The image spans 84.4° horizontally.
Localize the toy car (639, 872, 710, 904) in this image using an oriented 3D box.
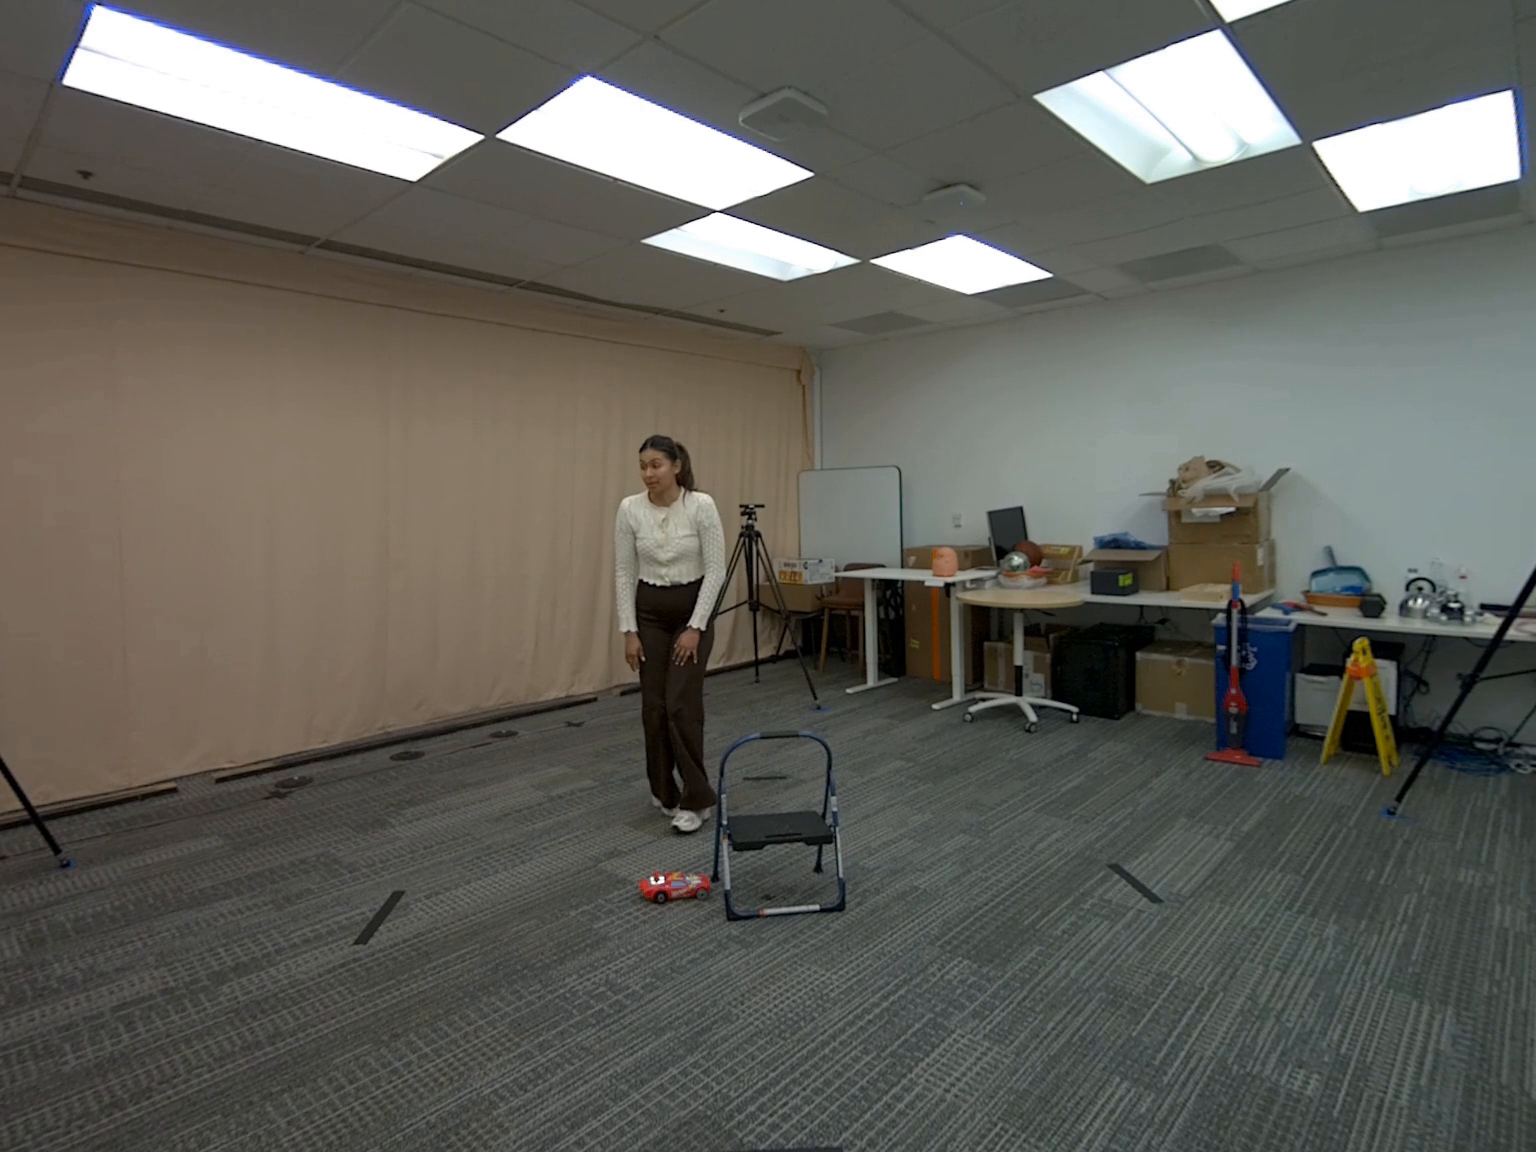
[{"bbox_3d":[-0.340,1.115,3.009,0.252,0.083,0.132,9,1,-10],"label":"toy car"}]
